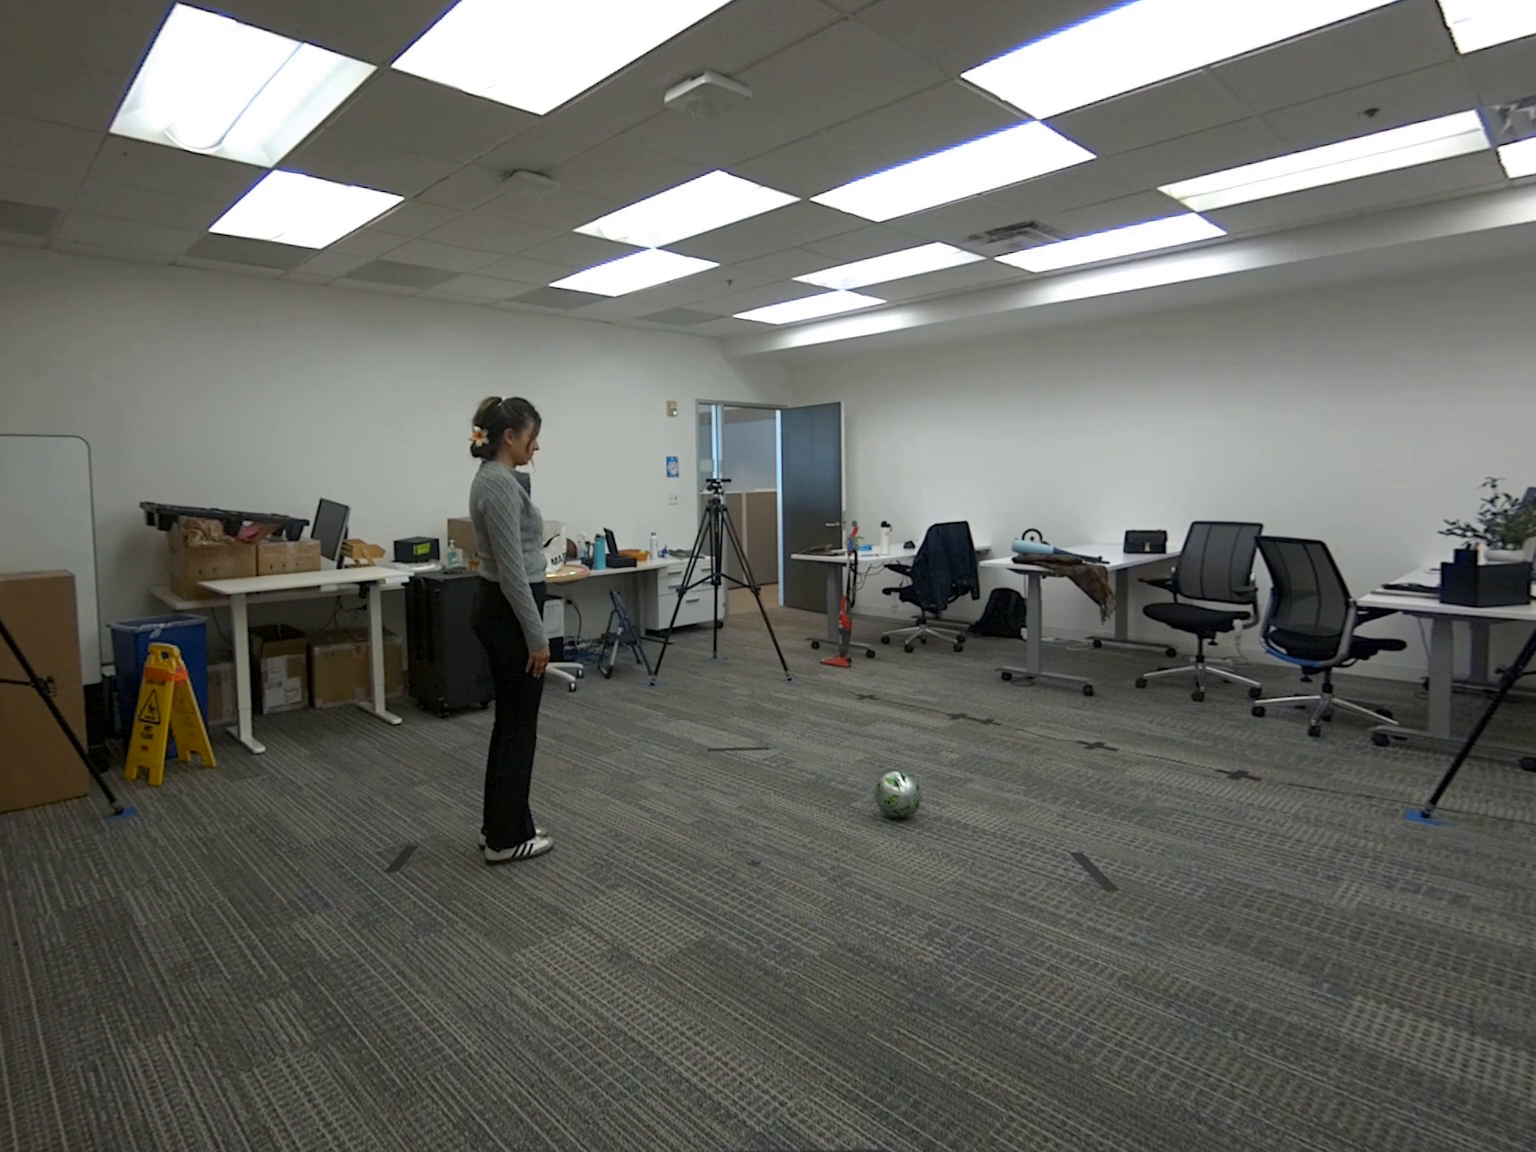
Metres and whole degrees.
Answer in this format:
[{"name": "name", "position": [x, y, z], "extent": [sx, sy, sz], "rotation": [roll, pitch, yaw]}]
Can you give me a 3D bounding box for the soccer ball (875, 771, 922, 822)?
[{"name": "soccer ball", "position": [0.533, 0.894, 3.508], "extent": [0.187, 0.187, 0.188], "rotation": [-1, 5, -2]}]
